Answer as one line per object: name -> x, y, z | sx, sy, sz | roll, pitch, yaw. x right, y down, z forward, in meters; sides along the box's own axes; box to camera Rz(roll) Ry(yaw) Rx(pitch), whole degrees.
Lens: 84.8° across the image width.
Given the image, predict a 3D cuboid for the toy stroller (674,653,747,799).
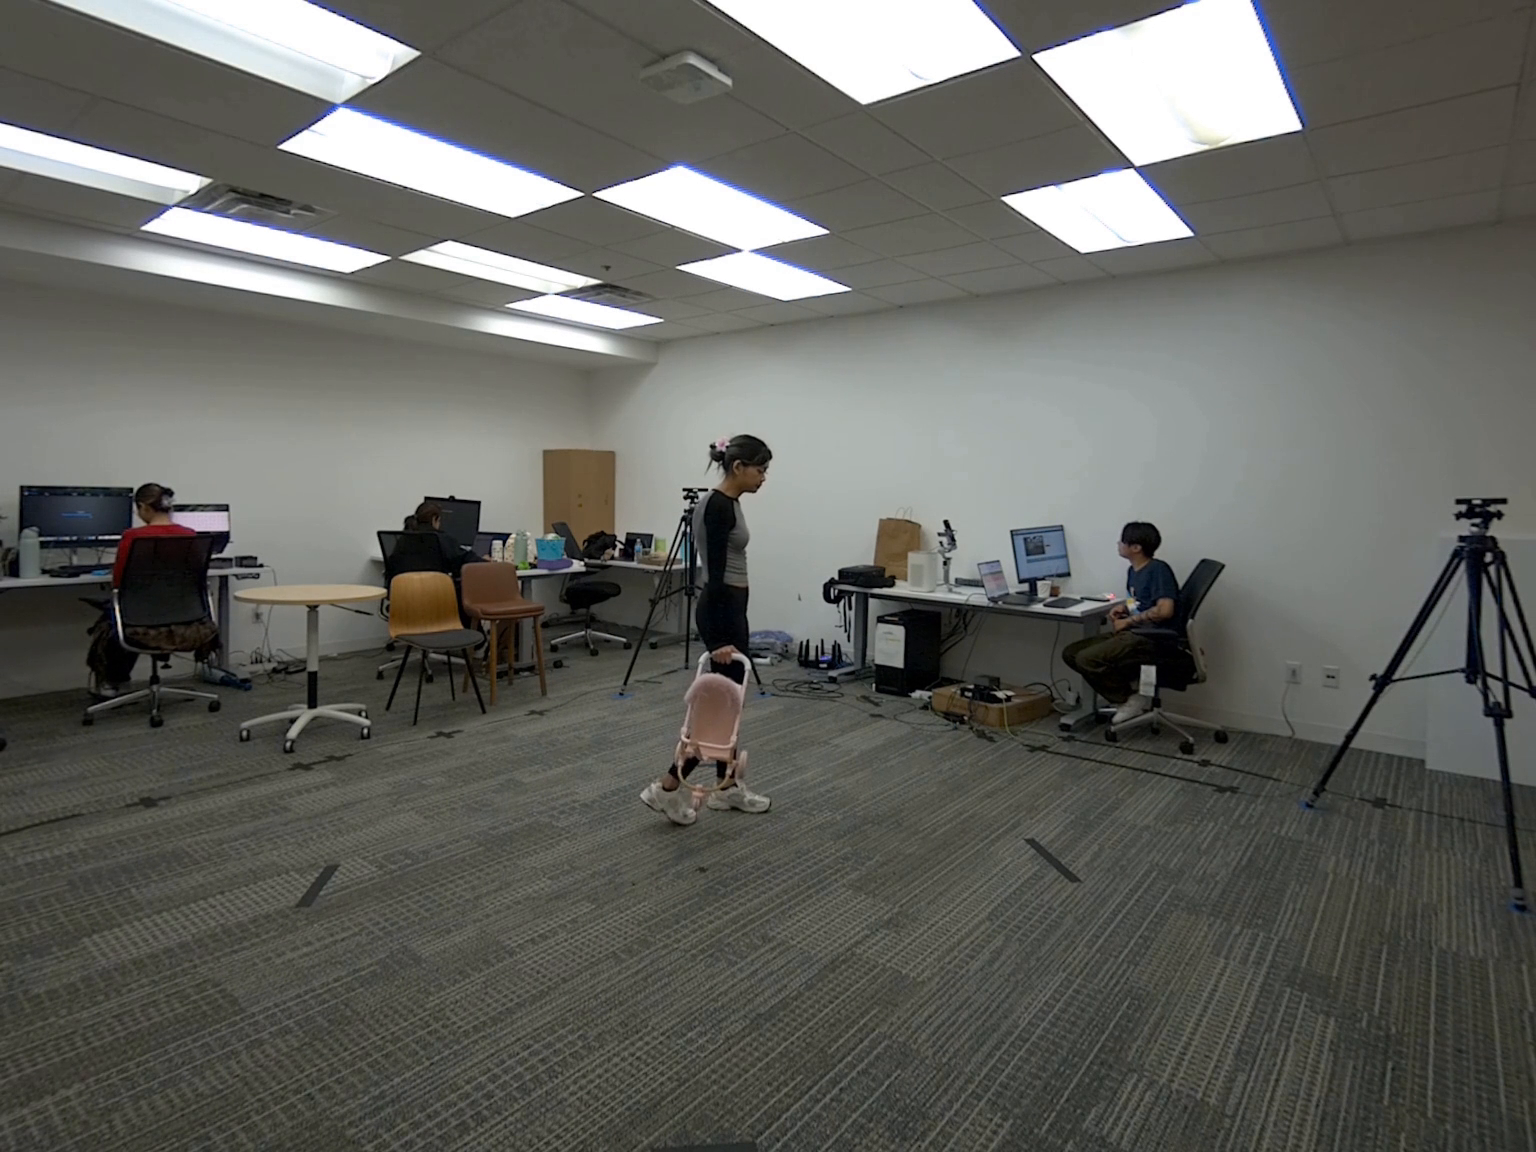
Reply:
toy stroller -> -0.228, 0.588, 3.239 | 0.286, 0.531, 0.338 | 9, 8, 11
